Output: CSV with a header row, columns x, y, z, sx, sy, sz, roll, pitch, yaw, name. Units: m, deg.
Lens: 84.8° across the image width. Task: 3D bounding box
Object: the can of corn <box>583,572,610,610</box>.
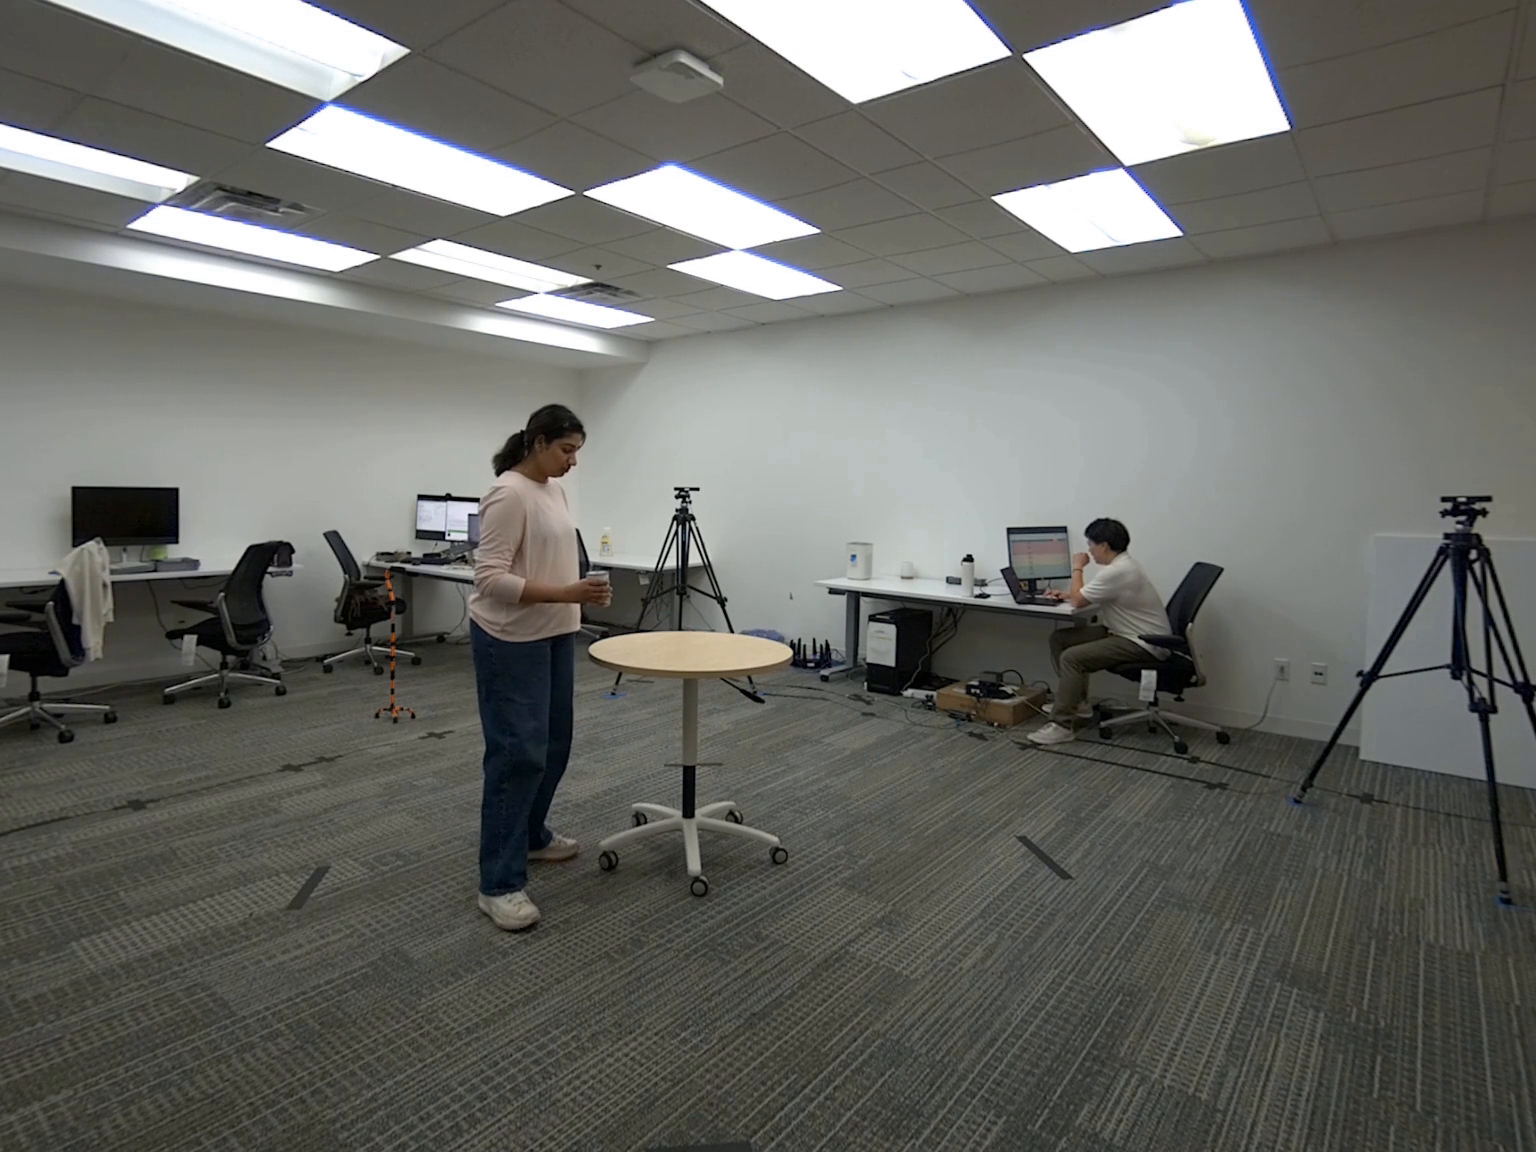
x,y,z,sx,sy,sz,roll,pitch,yaw,name
-0.579,0.047,2.827,0.074,0.110,0.075,-1,8,-2,can of corn
